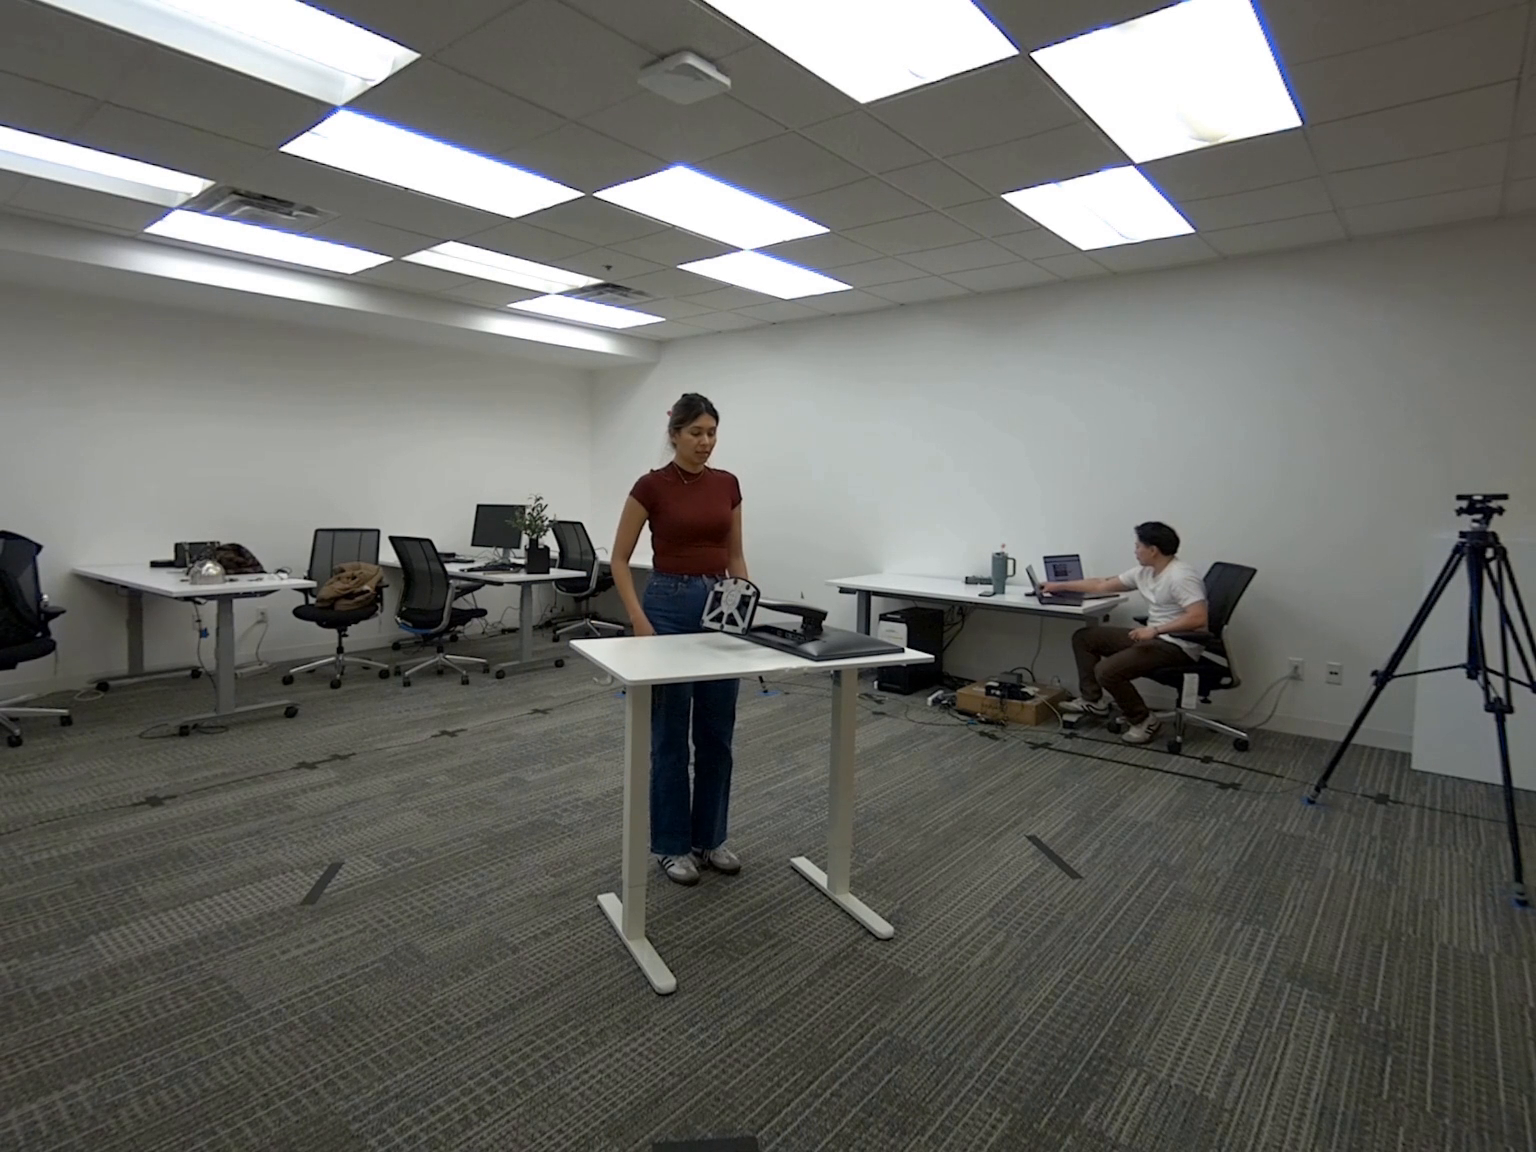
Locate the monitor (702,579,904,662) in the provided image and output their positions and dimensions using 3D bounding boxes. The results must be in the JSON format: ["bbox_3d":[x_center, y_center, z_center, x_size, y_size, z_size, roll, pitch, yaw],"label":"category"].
[{"bbox_3d":[0.069,0.159,2.788,0.505,0.187,0.556,18,-4,-32],"label":"monitor"}]
